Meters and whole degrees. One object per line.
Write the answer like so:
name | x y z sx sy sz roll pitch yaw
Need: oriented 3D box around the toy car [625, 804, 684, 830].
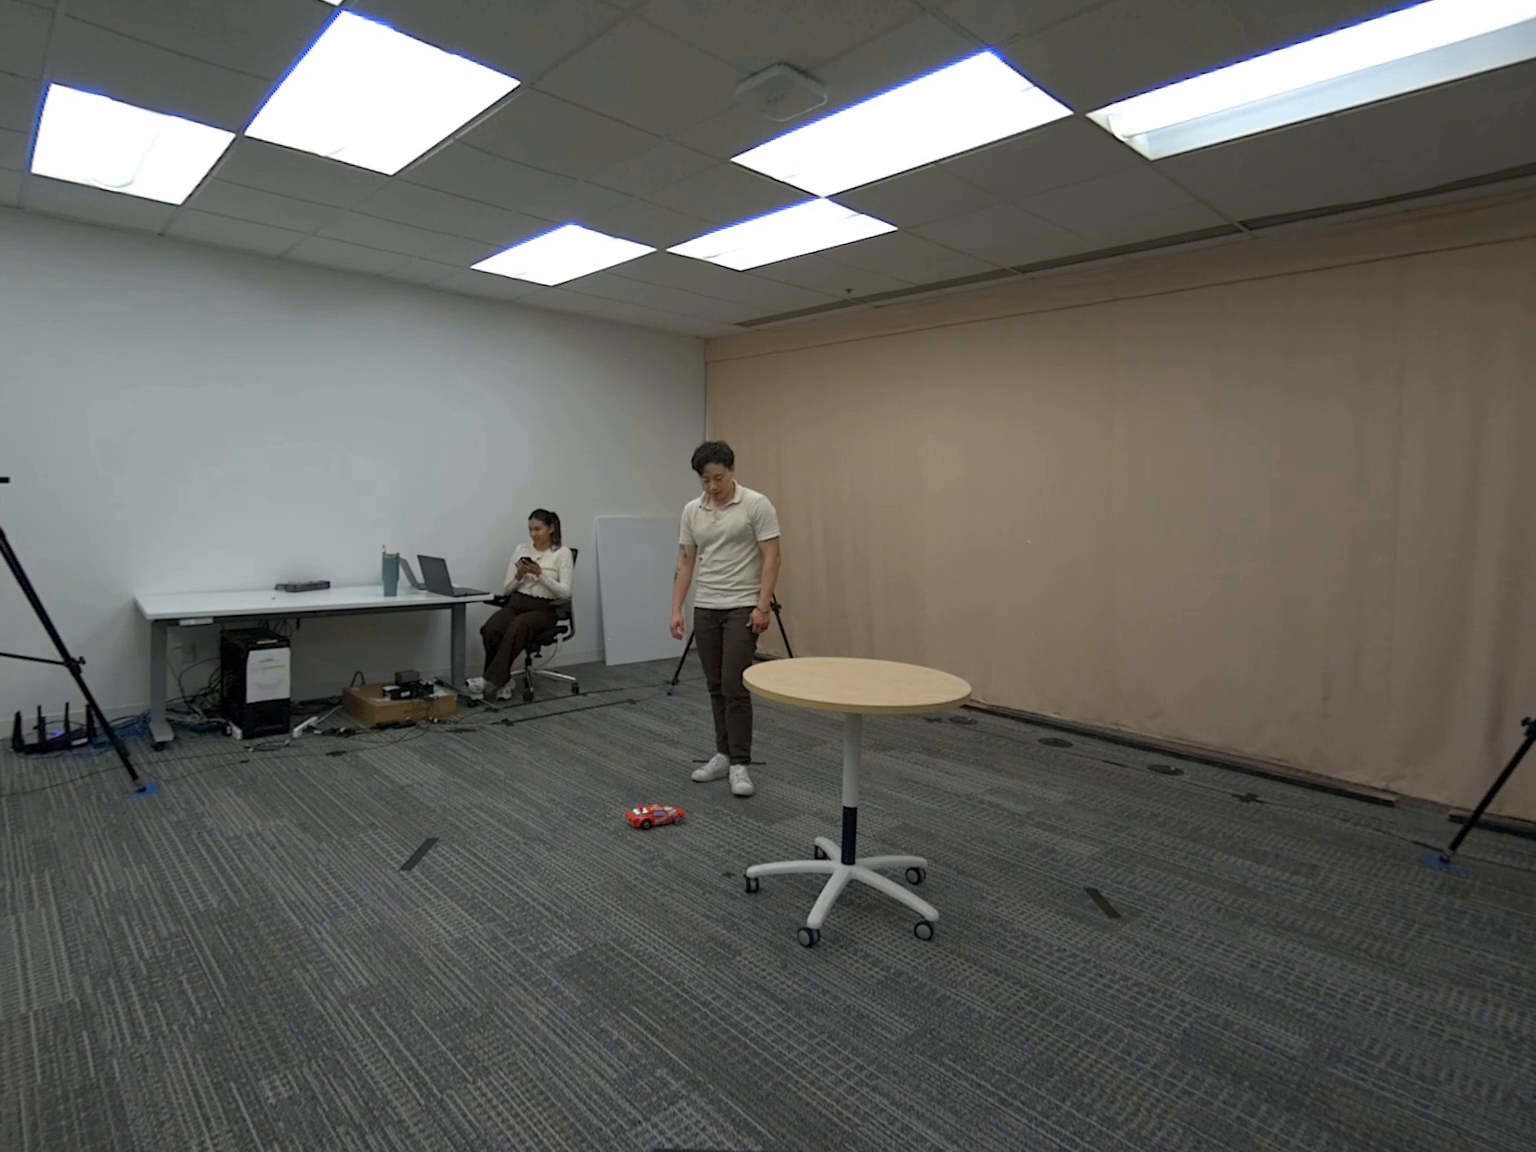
toy car | -0.509 1.023 3.576 0.249 0.083 0.133 12 -1 -28
